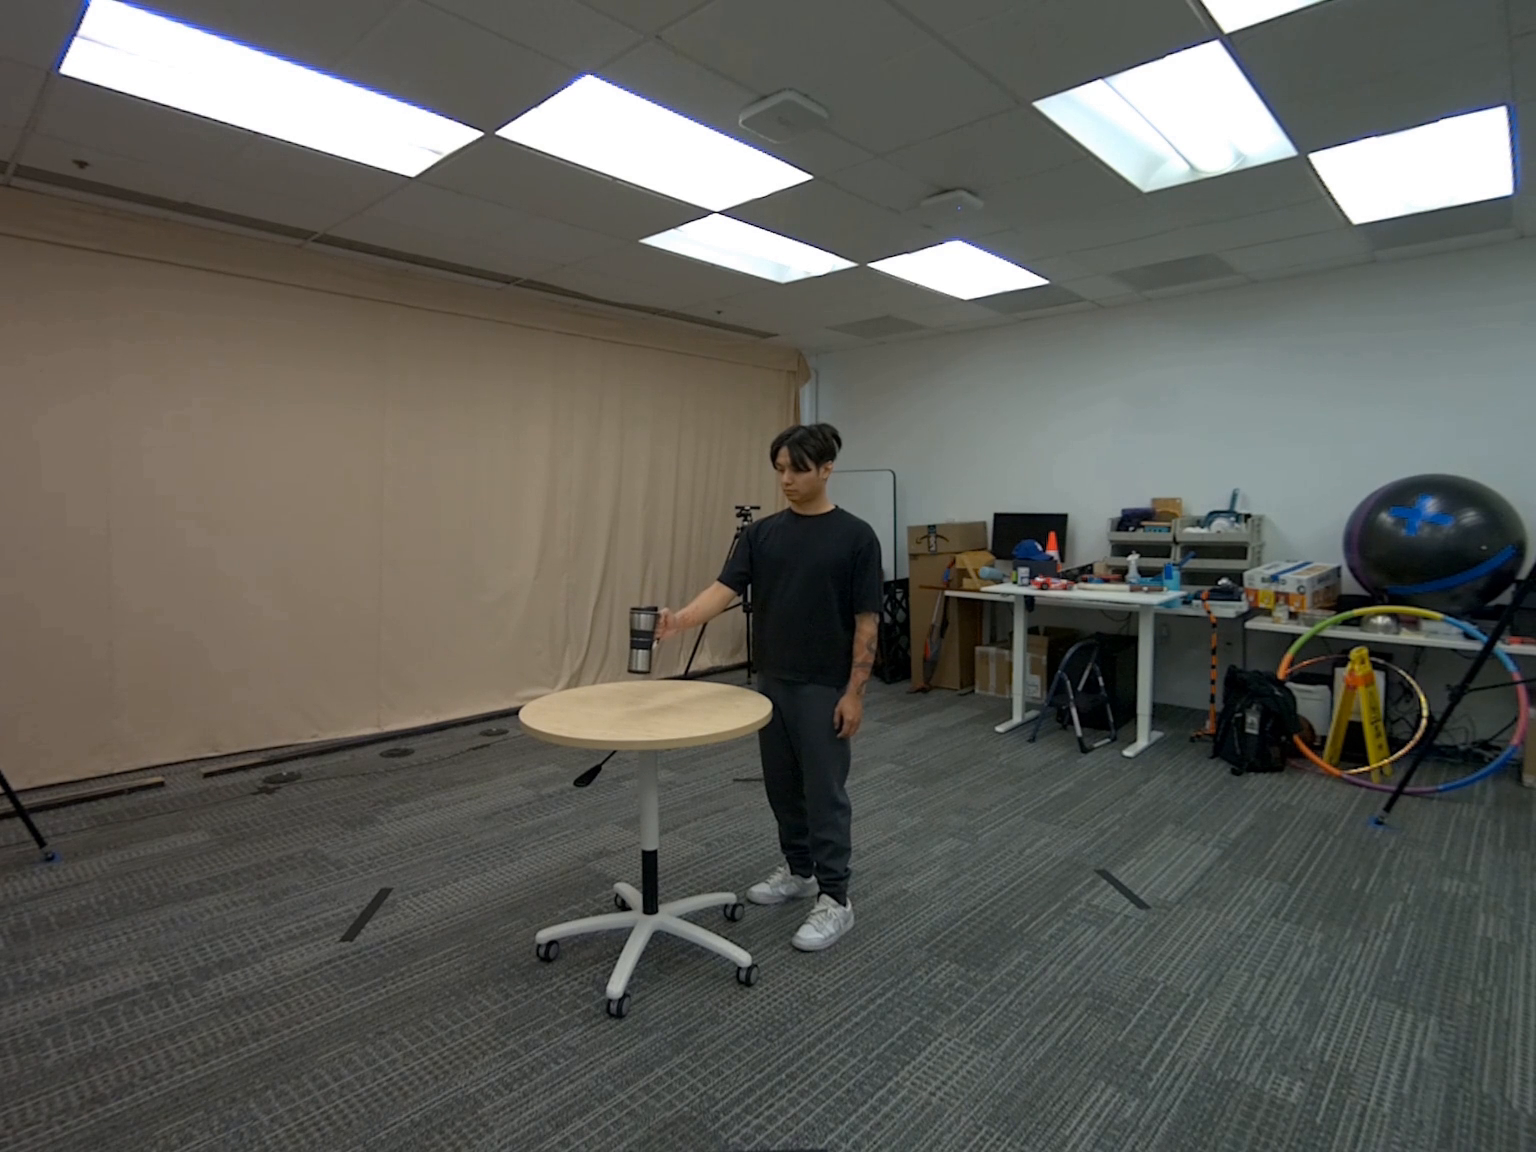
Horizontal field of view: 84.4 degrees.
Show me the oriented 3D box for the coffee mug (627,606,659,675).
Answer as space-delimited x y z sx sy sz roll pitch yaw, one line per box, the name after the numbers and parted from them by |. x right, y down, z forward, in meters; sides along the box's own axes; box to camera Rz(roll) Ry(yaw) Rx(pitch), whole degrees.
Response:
-0.365 0.197 2.552 0.118 0.203 0.090 1 -4 -35 | coffee mug
